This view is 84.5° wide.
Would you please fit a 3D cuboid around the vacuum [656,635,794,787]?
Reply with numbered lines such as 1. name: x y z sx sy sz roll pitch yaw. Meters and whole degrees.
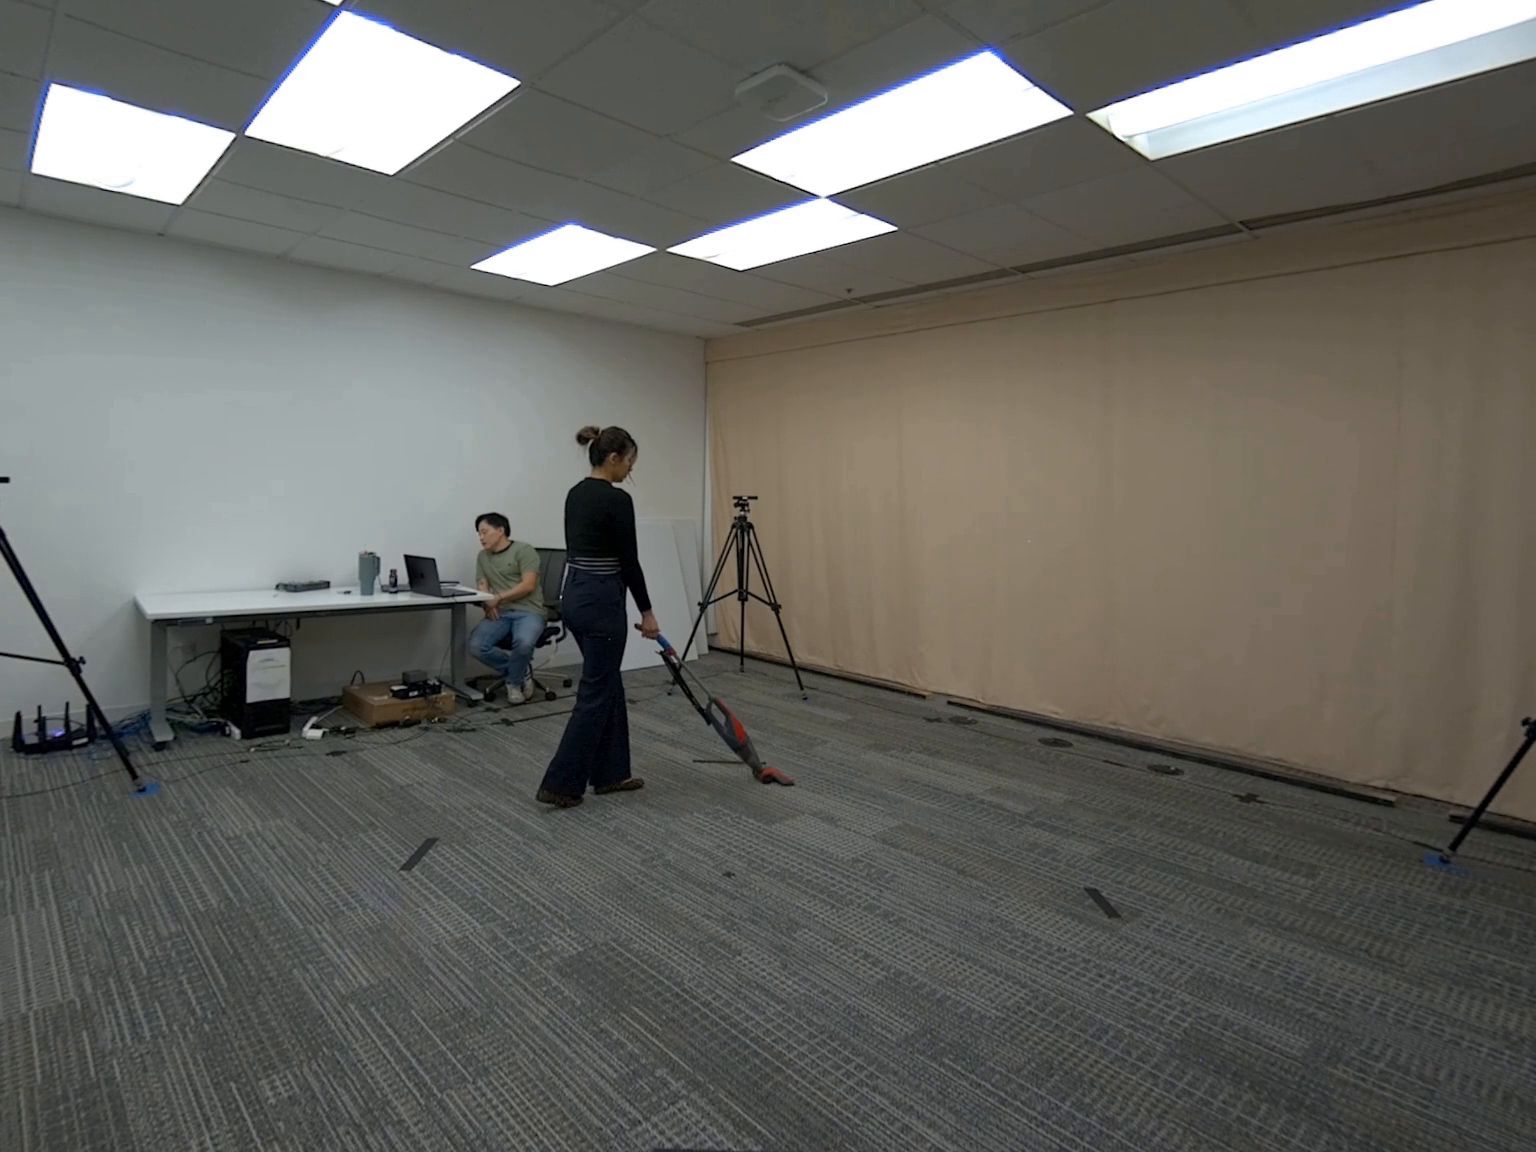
1. vacuum: -0.297 0.627 4.059 0.144 1.030 0.257 -46 19 -20
